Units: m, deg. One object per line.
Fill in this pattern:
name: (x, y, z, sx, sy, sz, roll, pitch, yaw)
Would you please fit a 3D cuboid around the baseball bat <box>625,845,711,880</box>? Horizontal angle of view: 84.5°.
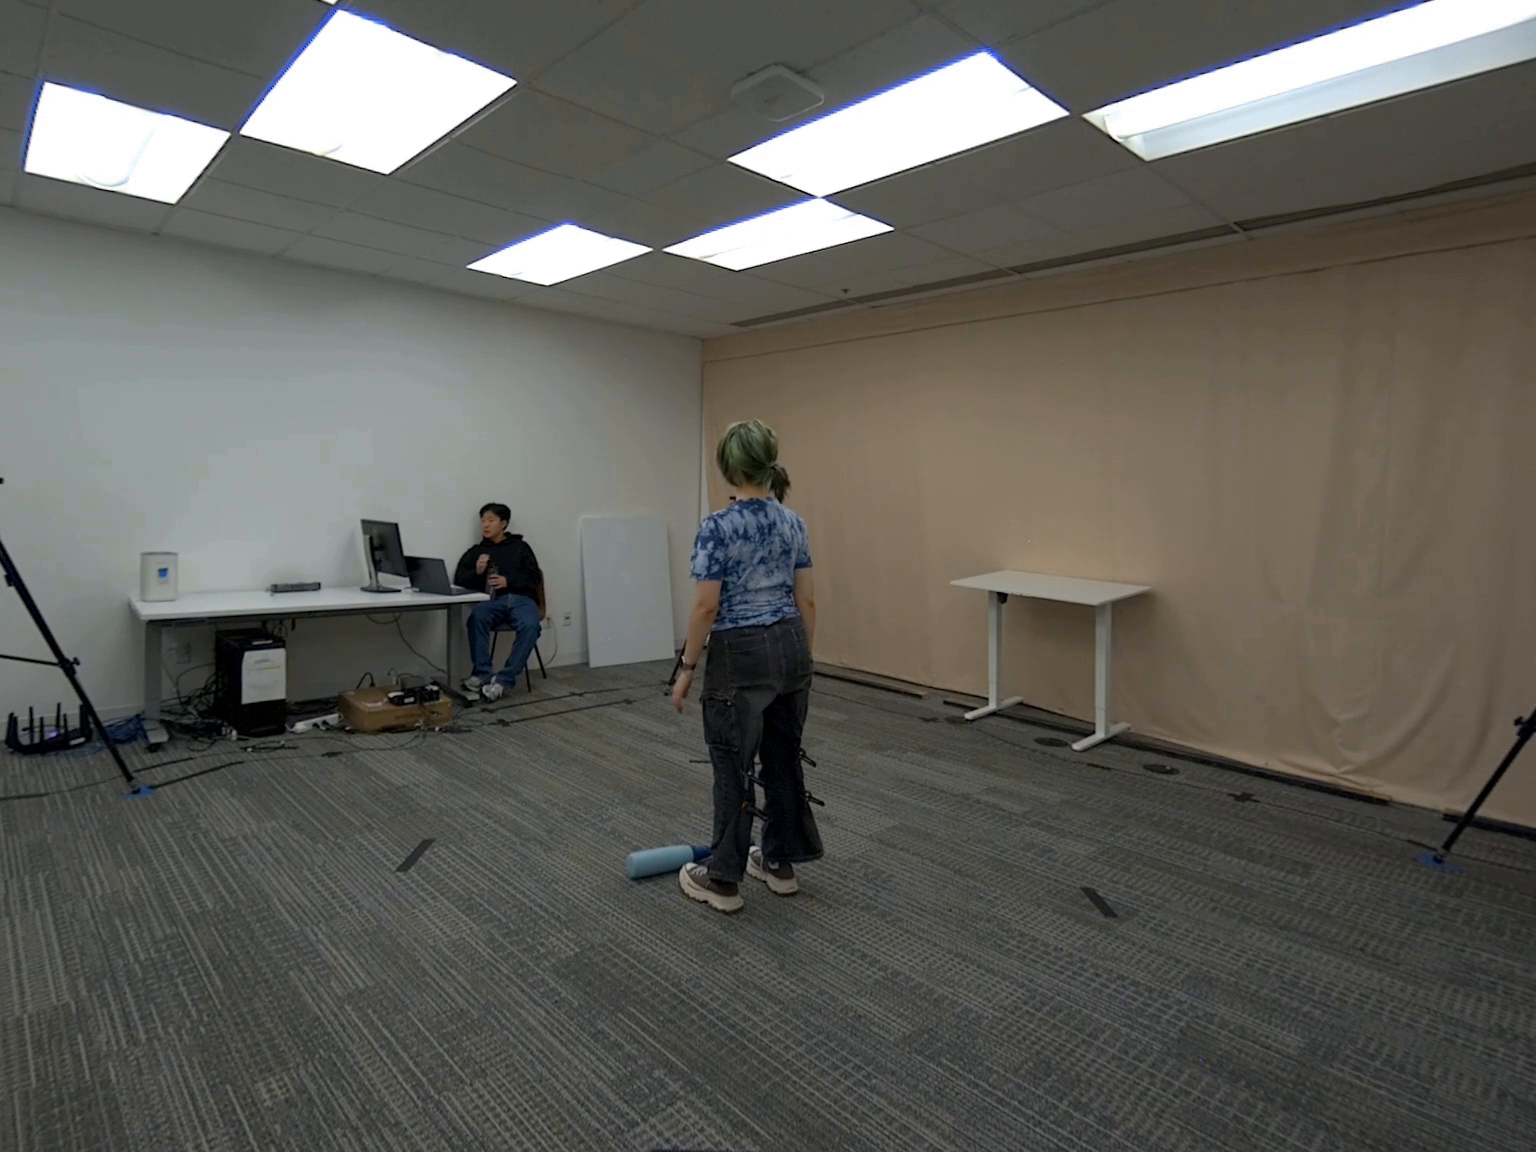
baseball bat: (-0.281, 1.052, 3.187, 0.531, 0.089, 0.091, 0, 4, -31)
